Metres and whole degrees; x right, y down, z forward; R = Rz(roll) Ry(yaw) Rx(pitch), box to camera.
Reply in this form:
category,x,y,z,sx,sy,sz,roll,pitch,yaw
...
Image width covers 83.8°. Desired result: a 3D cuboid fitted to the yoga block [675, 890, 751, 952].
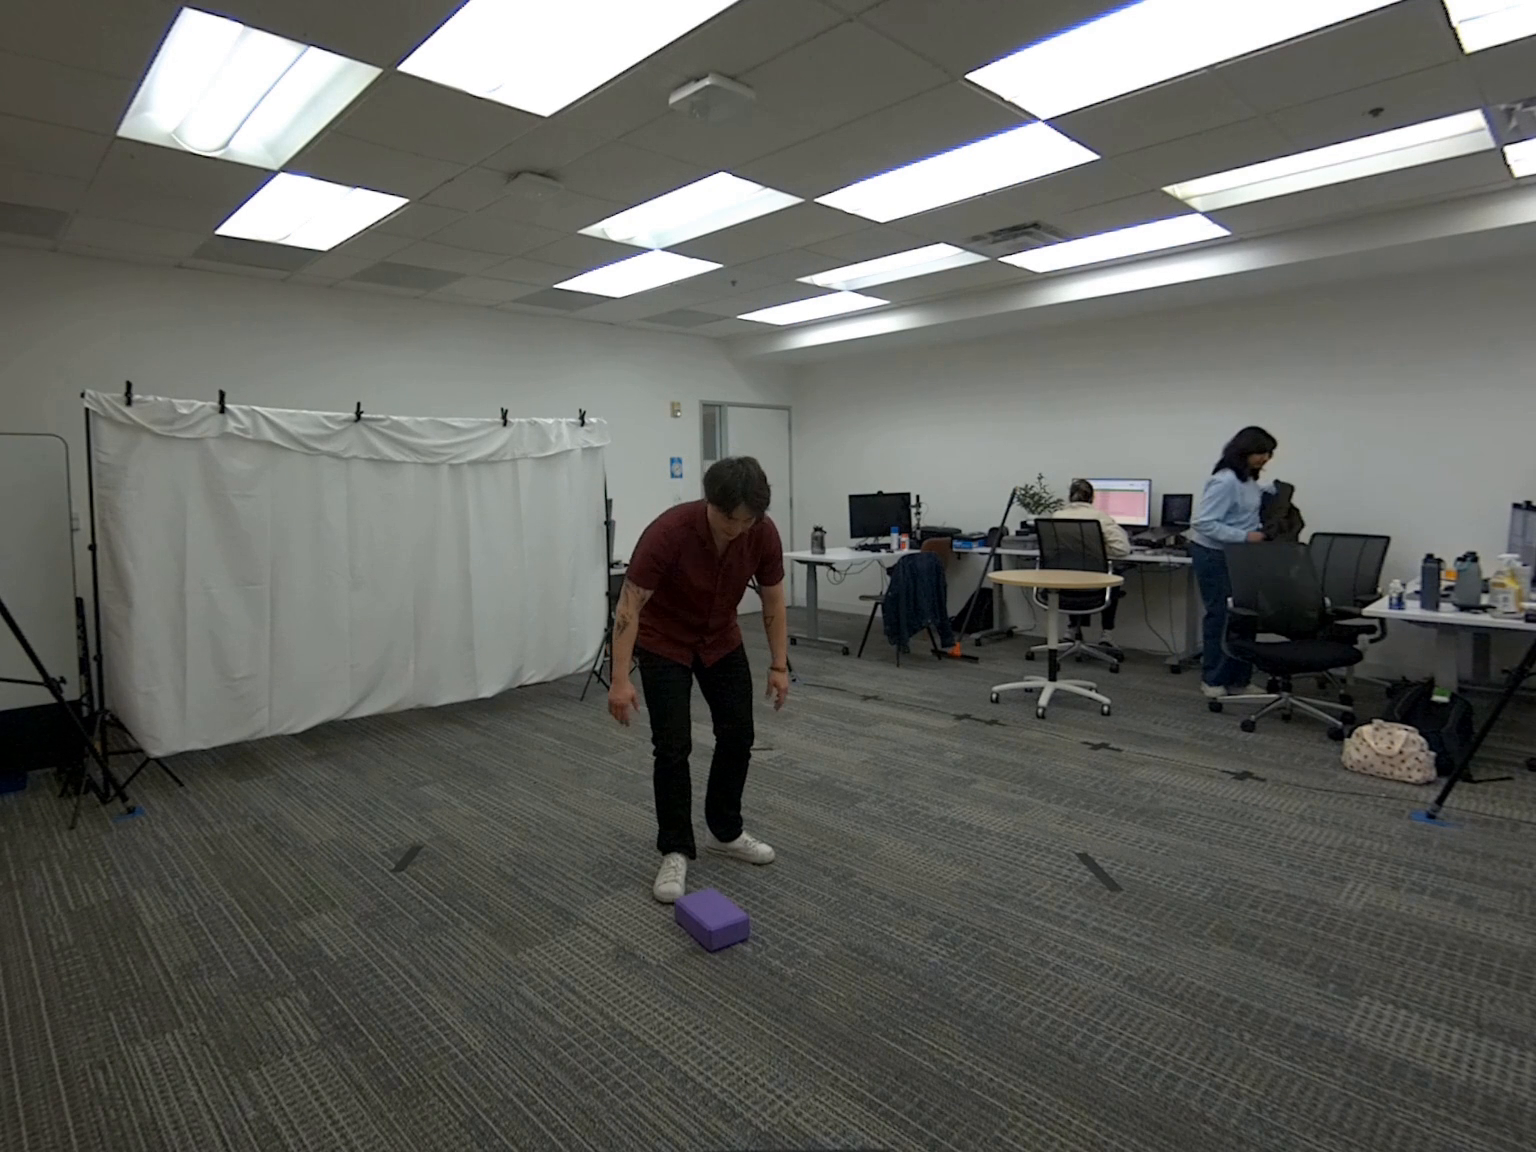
category,x,y,z,sx,sy,sz,roll,pitch,yaw
yoga block,-0.178,1.068,2.654,0.145,0.076,0.236,-6,8,-33
